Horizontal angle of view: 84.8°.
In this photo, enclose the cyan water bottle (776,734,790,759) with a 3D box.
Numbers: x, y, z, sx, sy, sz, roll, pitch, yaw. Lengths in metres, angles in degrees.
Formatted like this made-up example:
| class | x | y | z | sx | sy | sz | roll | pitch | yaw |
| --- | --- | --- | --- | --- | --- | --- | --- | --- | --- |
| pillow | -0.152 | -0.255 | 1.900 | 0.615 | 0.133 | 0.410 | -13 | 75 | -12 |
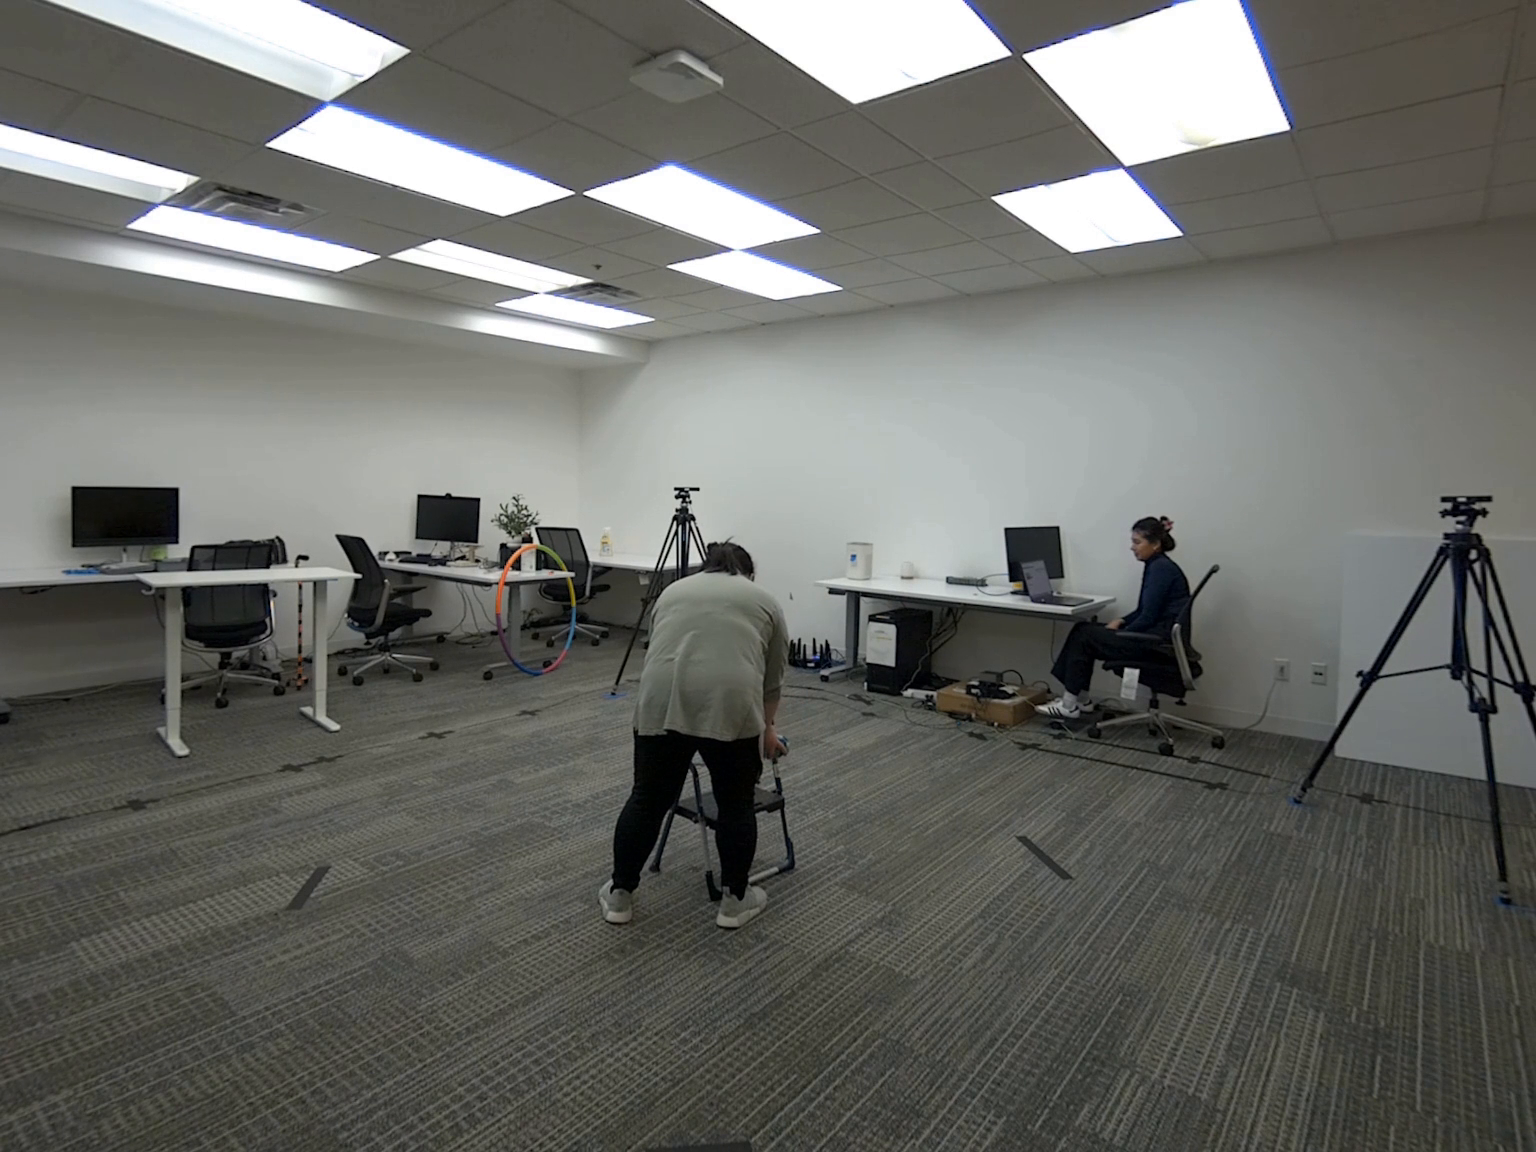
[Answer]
| class | x | y | z | sx | sy | sz | roll | pitch | yaw |
| --- | --- | --- | --- | --- | --- | --- | --- | --- | --- |
| cyan water bottle | -0.054 | 0.591 | 3.029 | 0.284 | 0.092 | 0.092 | 3 | 4 | 3 |
